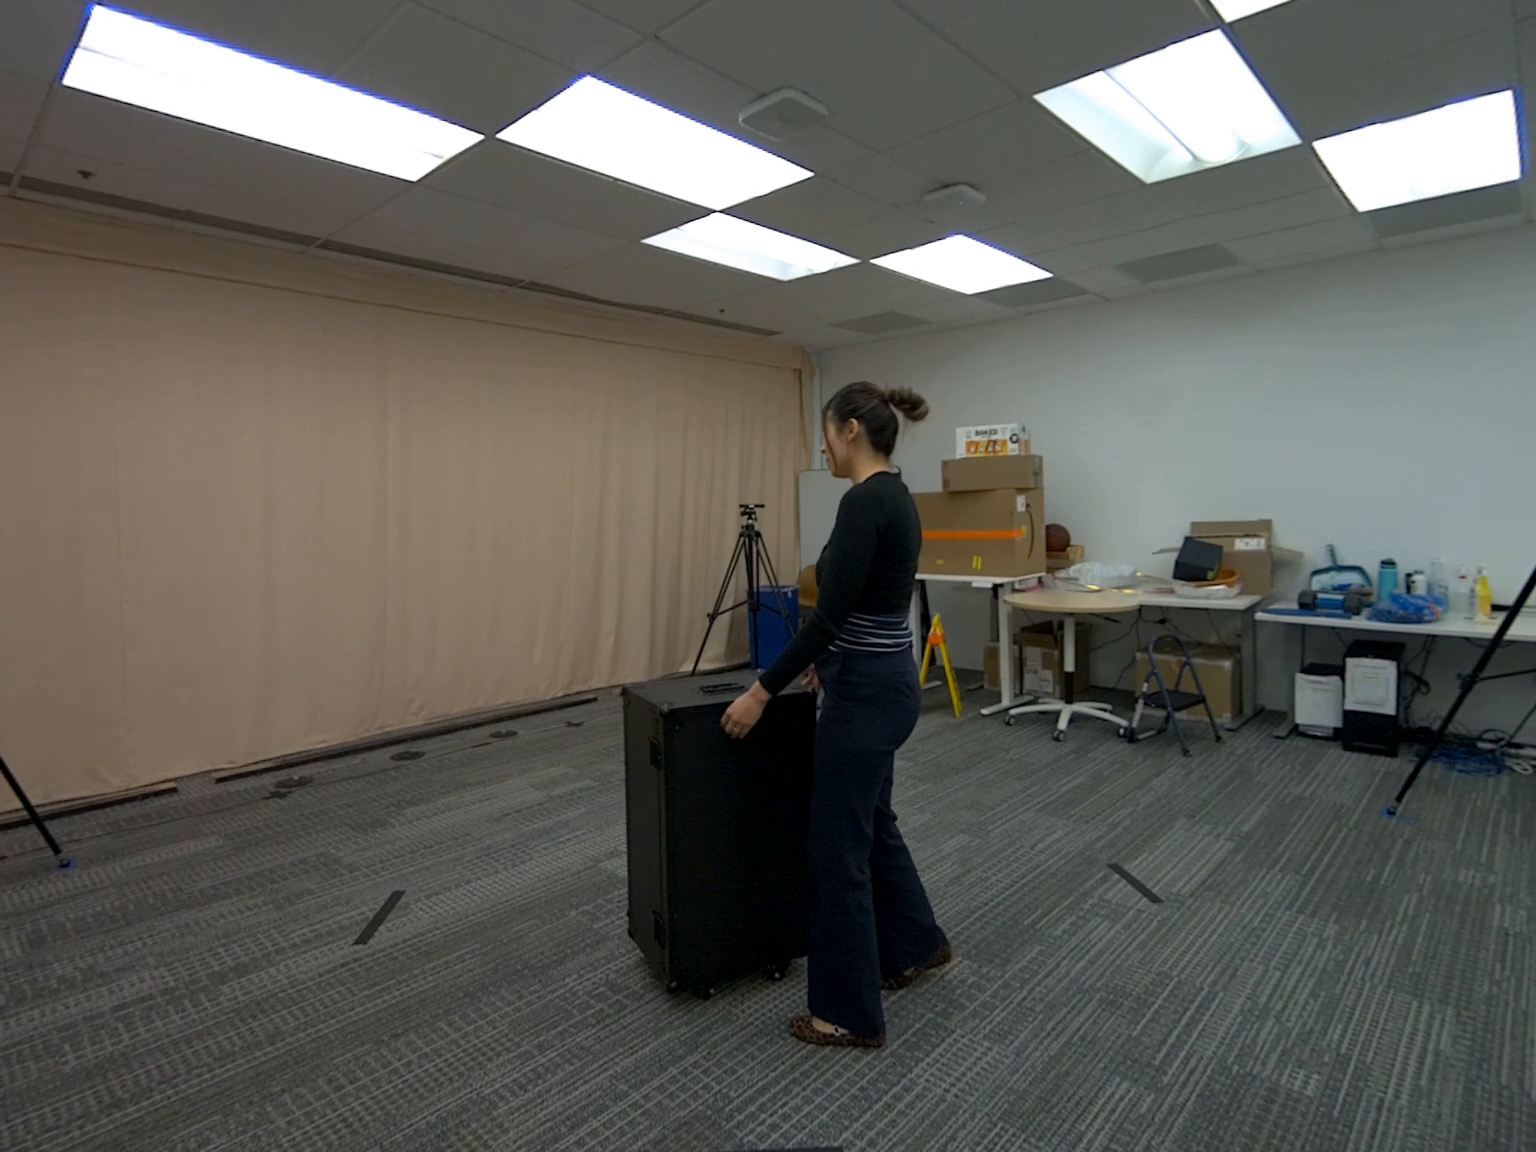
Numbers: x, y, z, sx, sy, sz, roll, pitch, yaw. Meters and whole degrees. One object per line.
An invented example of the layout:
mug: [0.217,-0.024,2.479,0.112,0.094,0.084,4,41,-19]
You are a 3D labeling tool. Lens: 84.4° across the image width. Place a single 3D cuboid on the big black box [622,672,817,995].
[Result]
big black box: [-0.150,0.755,2.530,0.509,0.860,0.406,-3,3,-26]
